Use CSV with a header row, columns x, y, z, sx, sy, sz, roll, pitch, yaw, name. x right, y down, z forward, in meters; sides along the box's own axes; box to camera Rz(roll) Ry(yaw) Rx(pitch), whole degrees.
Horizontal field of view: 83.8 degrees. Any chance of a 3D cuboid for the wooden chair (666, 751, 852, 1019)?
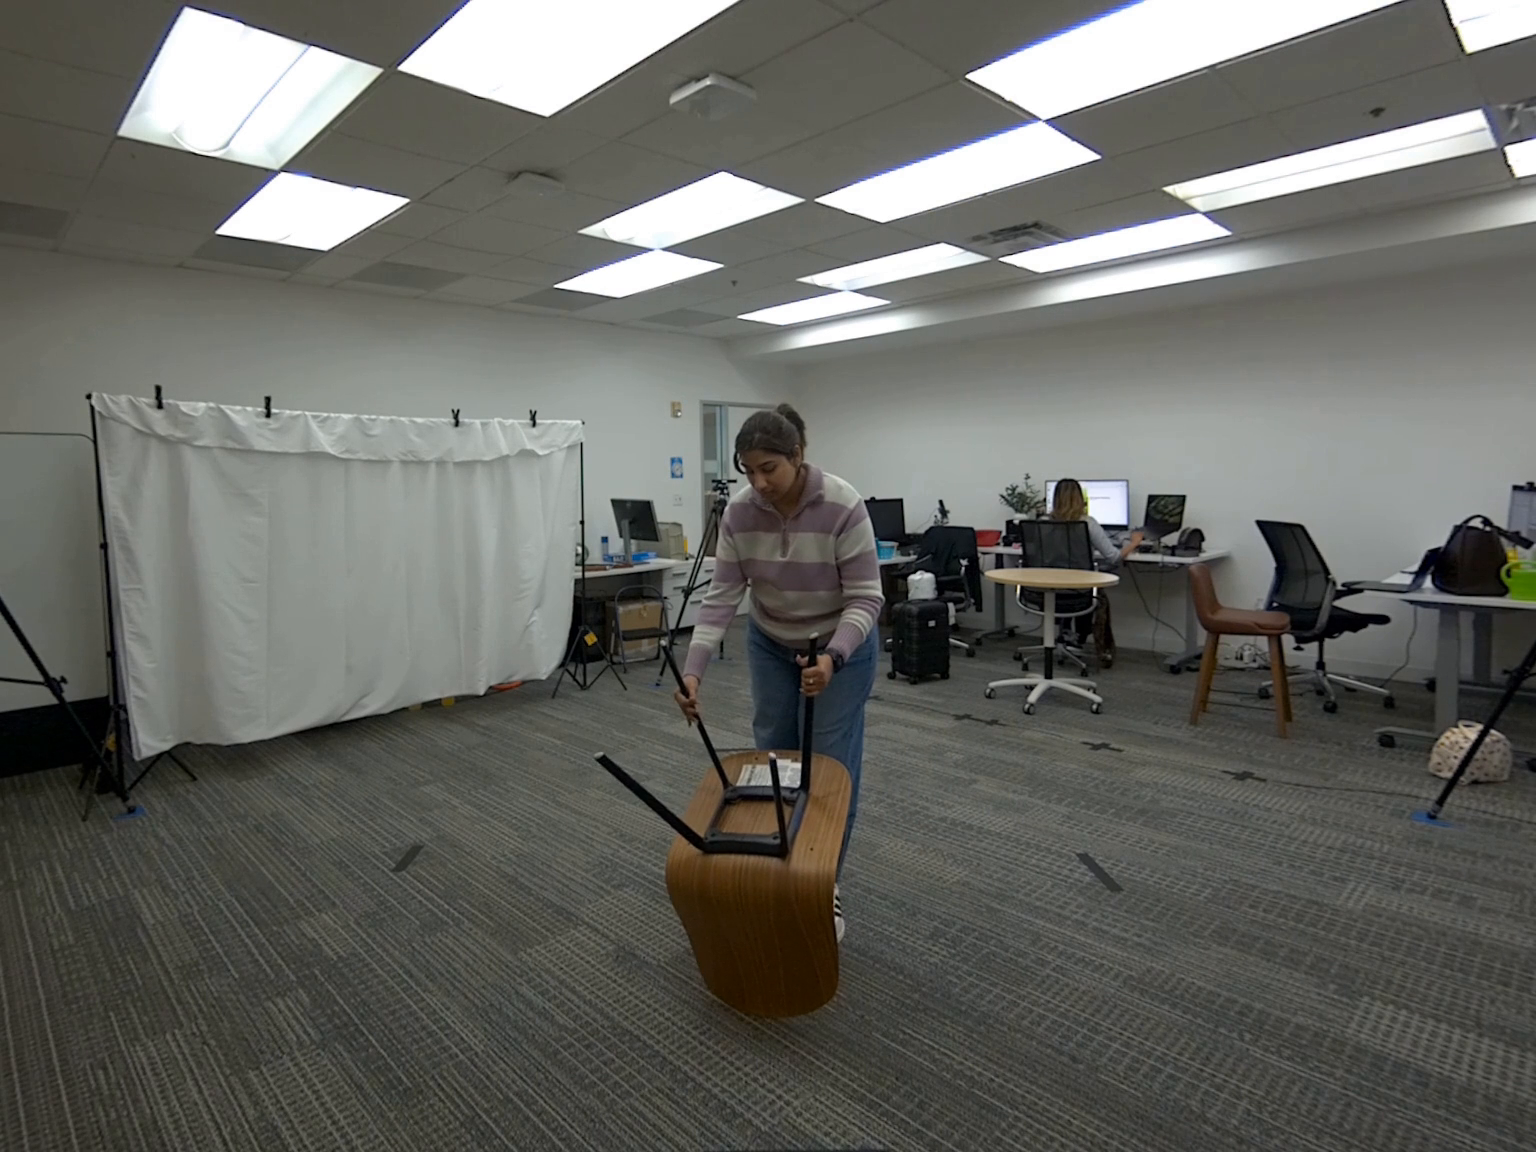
x,y,z,sx,sy,sz,roll,pitch,yaw,name
-0.031,0.639,2.293,0.487,0.857,0.526,-7,24,22,wooden chair
